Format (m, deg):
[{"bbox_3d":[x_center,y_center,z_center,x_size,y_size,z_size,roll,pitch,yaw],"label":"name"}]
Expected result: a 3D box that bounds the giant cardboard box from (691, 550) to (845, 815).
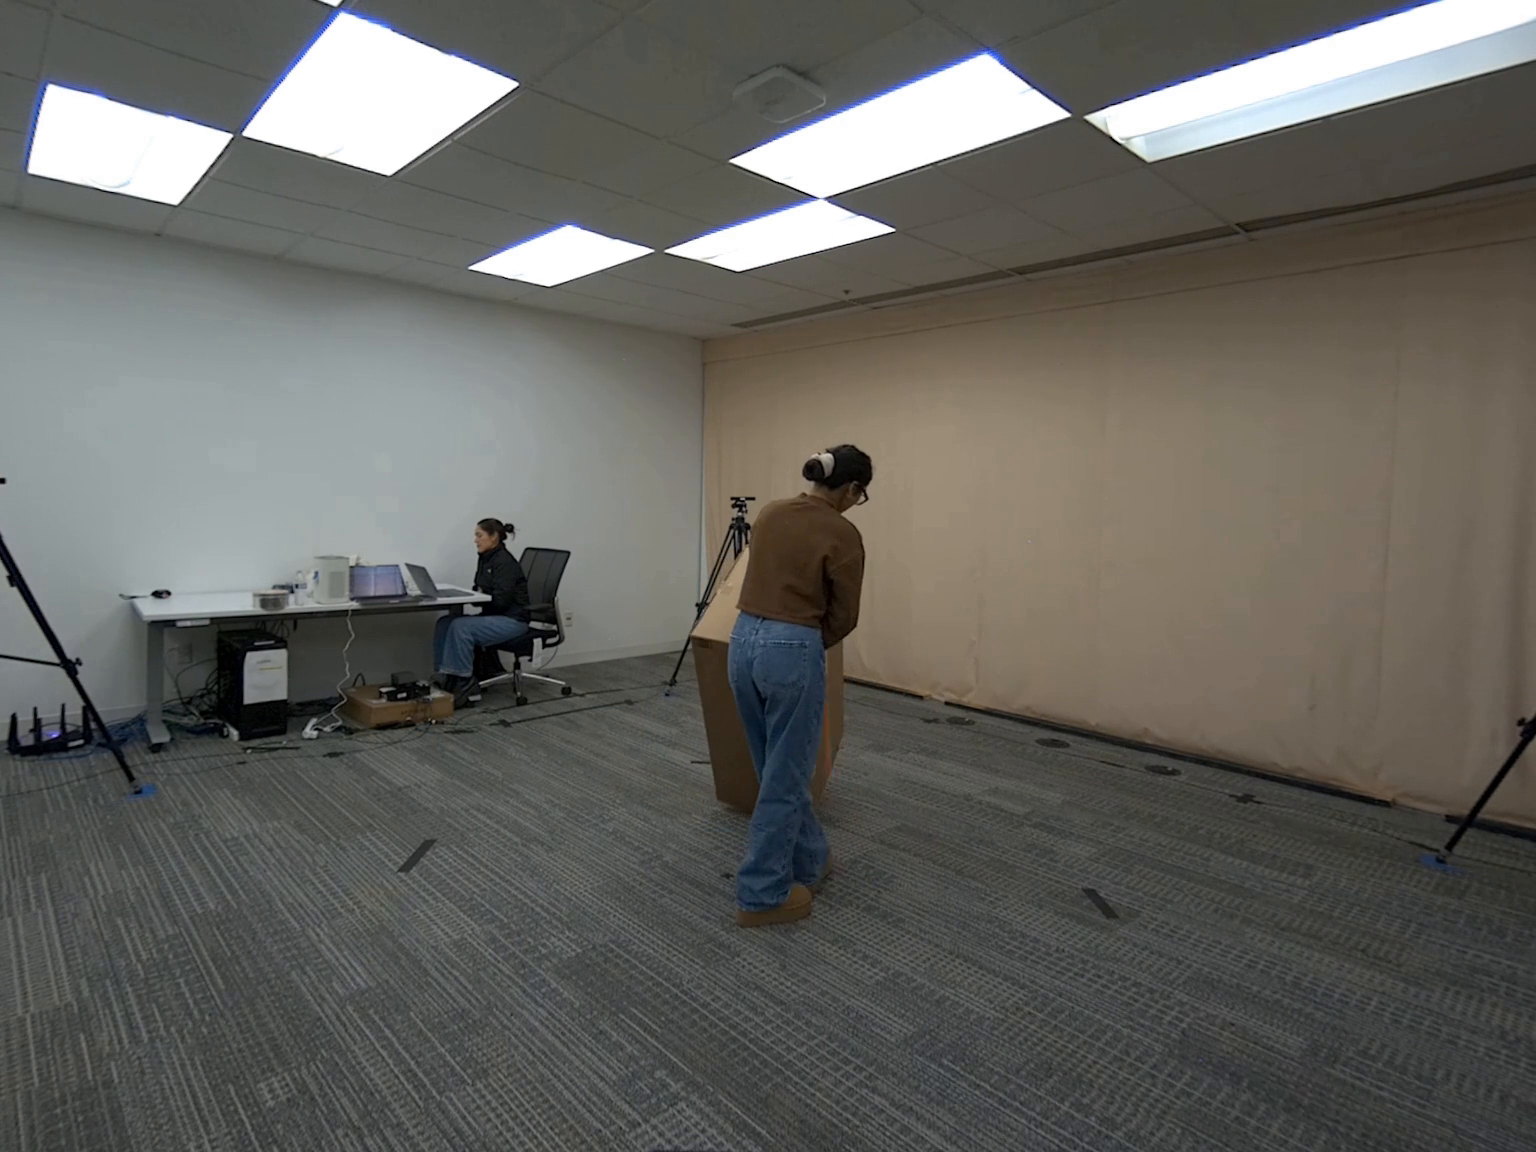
[{"bbox_3d":[0.036,0.481,3.575,0.455,1.002,0.587,10,41,20],"label":"giant cardboard box"}]
